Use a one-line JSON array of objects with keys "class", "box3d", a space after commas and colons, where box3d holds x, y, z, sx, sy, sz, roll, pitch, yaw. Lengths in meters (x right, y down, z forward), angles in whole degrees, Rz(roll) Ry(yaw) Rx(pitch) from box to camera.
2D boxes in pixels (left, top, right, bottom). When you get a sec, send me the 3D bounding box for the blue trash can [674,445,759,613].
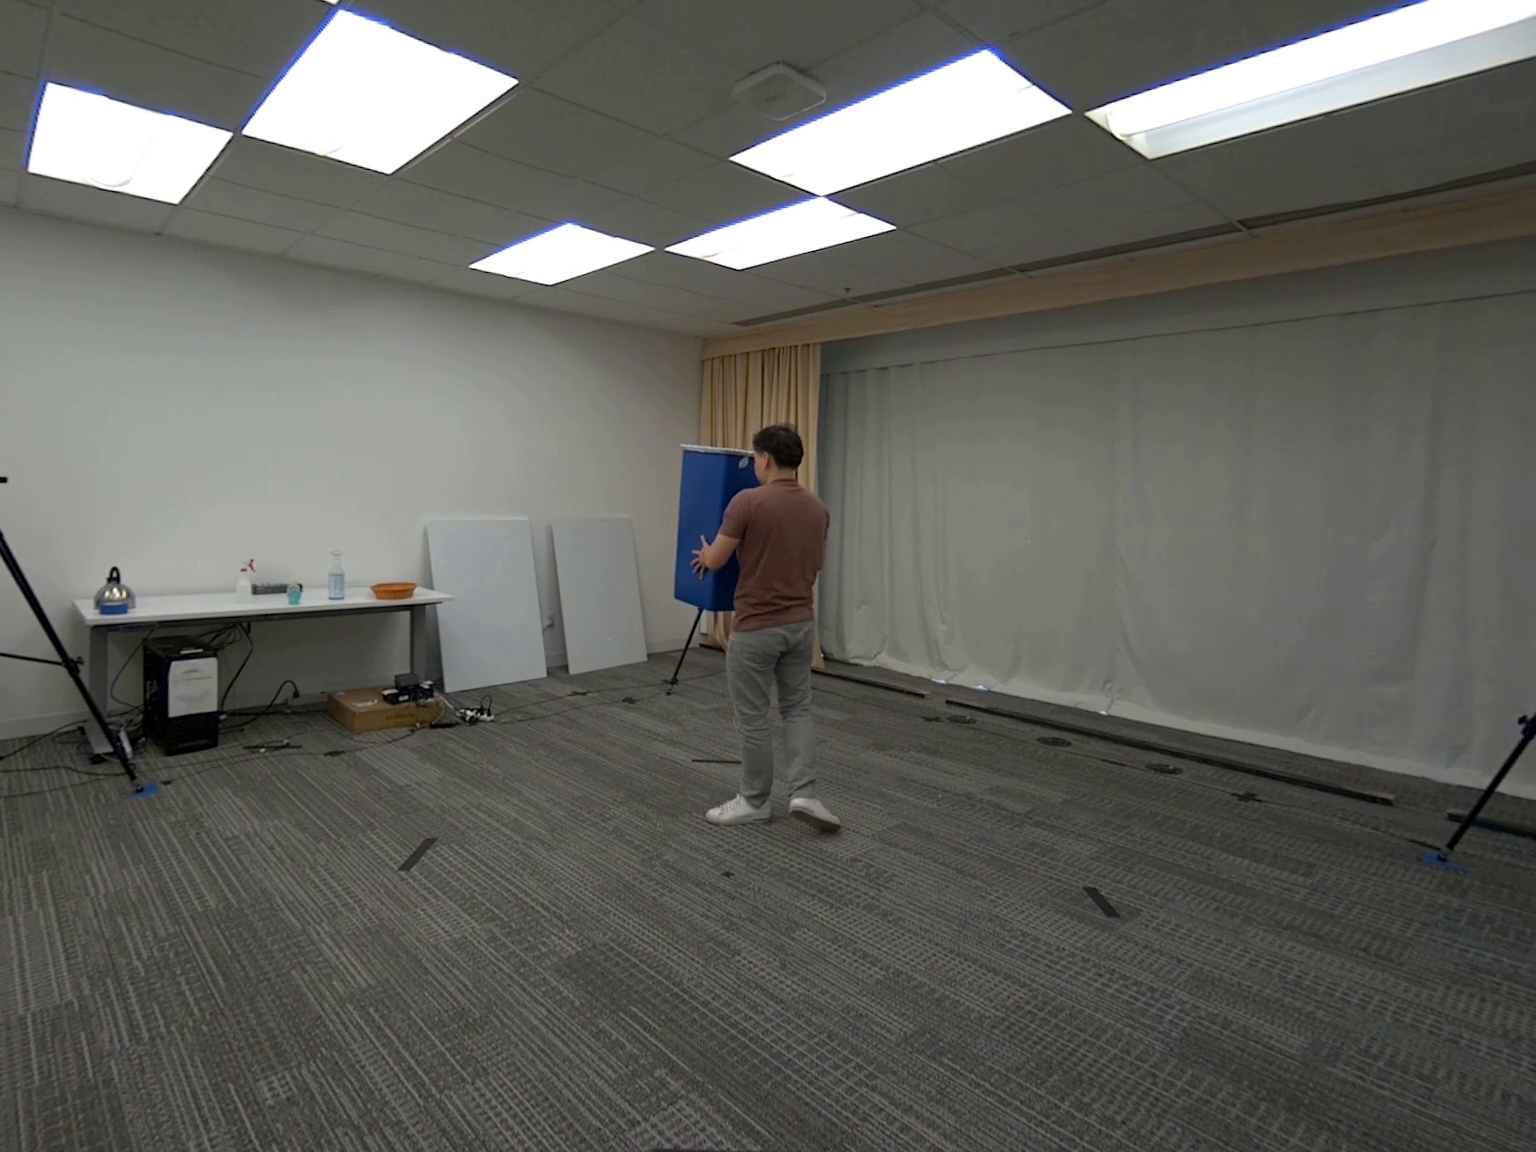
[{"class": "blue trash can", "box3d": [-0.201, -0.225, 3.860, 0.369, 0.711, 0.384, 2, 8, -41]}]
